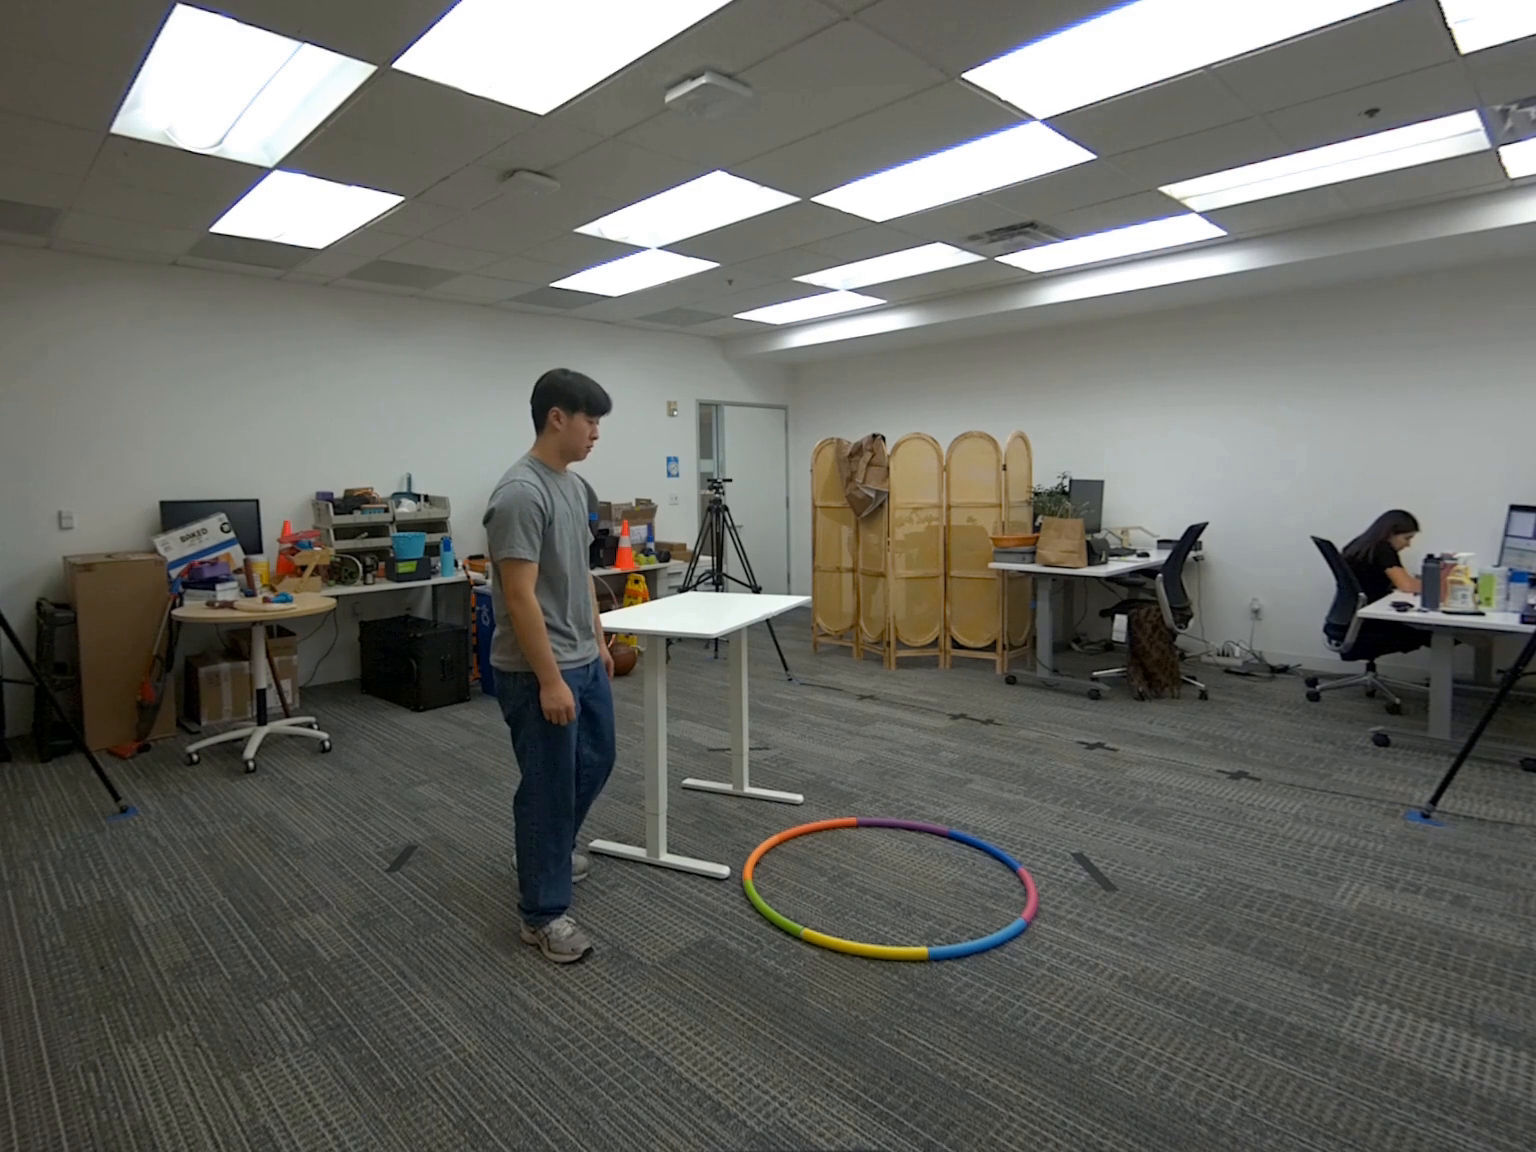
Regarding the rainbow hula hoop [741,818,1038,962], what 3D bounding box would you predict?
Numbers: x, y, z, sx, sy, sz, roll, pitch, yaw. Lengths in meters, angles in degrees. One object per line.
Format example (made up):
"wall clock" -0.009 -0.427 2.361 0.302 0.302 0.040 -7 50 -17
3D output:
"rainbow hula hoop" 0.396 1.027 2.943 0.978 0.035 0.984 -2 7 -2
